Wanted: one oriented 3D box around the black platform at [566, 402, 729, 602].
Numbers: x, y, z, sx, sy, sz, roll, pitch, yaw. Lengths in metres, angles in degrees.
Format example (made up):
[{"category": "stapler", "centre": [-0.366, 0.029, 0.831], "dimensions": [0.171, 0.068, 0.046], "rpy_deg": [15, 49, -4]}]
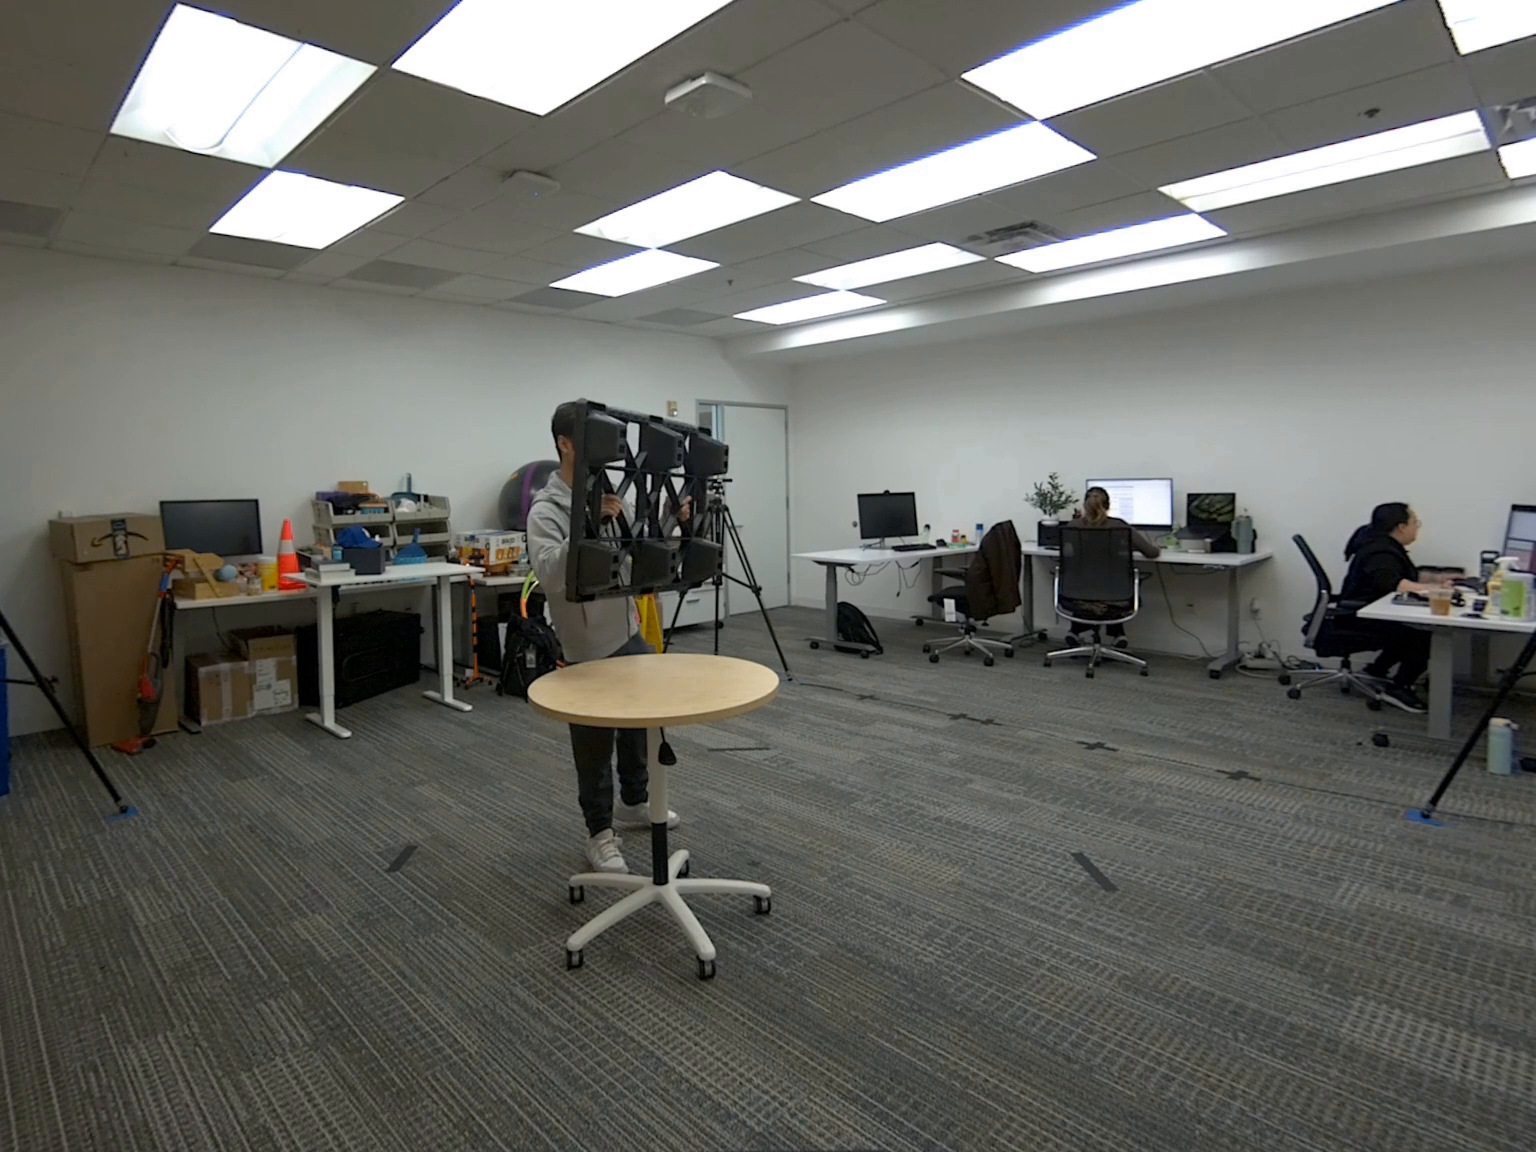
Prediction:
[{"category": "black platform", "centre": [-0.359, -0.227, 2.836], "dimensions": [0.147, 0.604, 0.789], "rpy_deg": [3, 4, 24]}]
